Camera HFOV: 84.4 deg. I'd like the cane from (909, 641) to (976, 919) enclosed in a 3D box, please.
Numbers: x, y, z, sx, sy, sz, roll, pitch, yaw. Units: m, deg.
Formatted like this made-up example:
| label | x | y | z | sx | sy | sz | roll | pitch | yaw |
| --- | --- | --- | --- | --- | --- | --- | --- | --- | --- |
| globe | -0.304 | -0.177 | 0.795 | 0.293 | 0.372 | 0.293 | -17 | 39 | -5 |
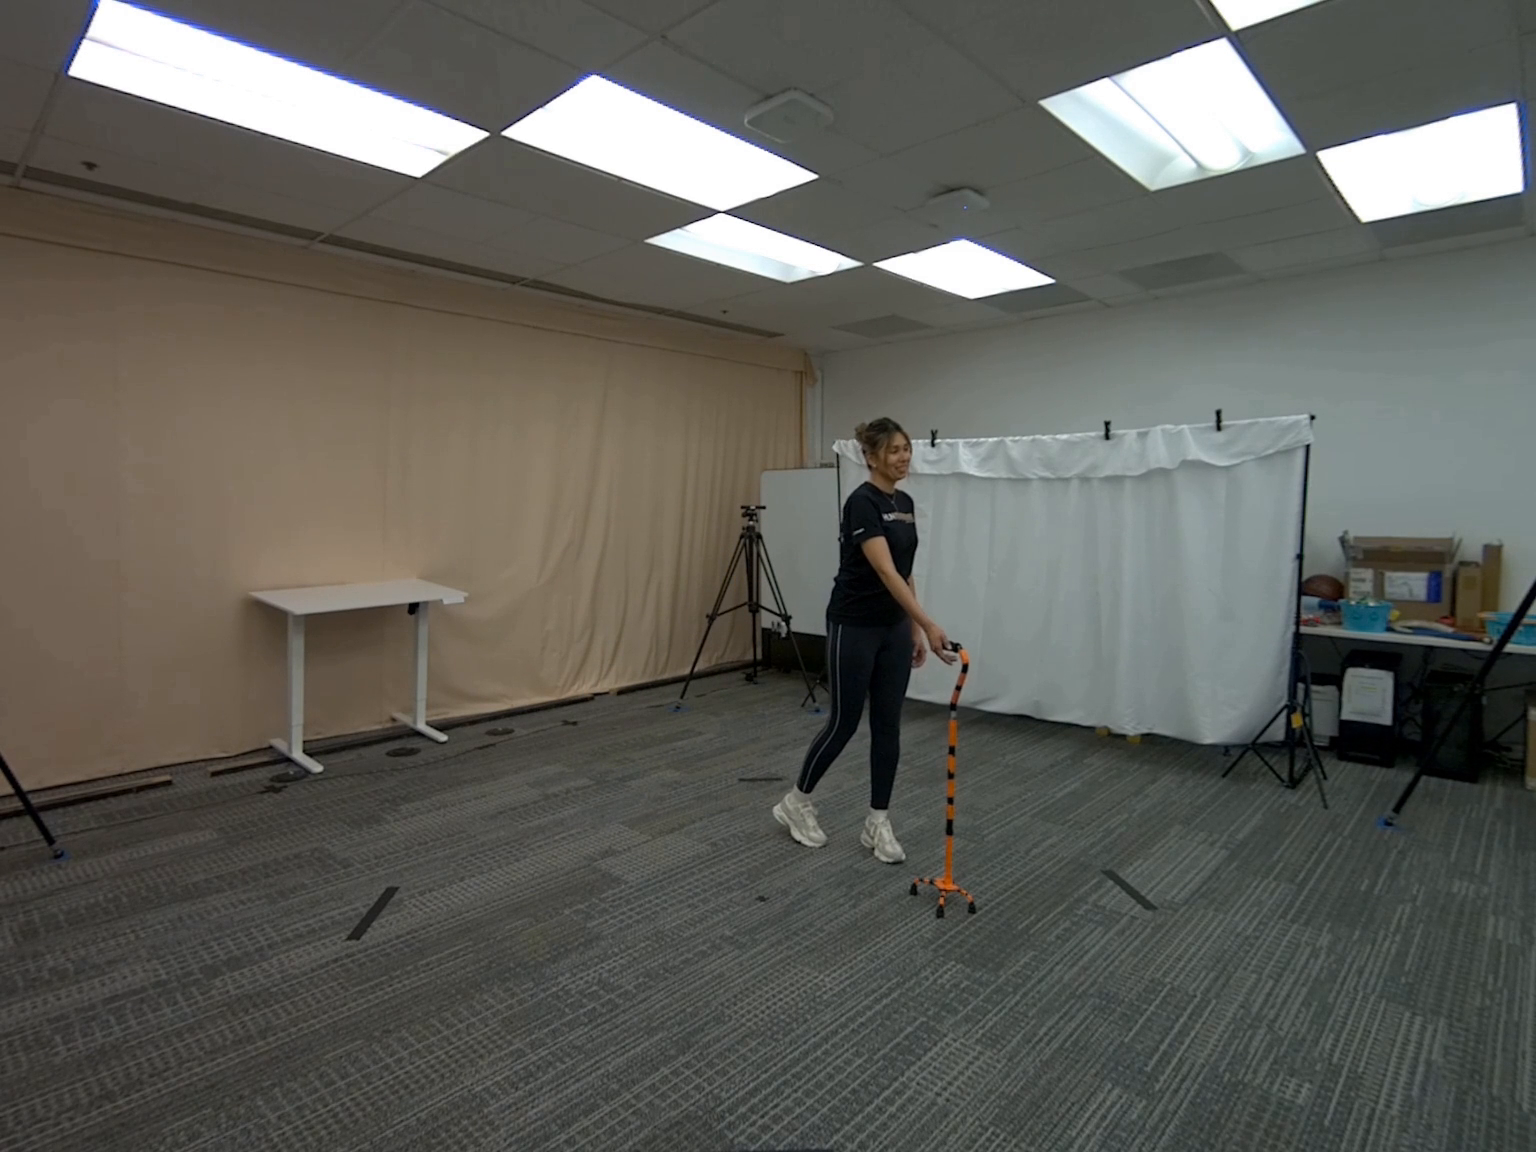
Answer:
| label | x | y | z | sx | sy | sz | roll | pitch | yaw |
| --- | --- | --- | --- | --- | --- | --- | --- | --- | --- |
| cane | 0.623 | 0.687 | 2.932 | 0.149 | 0.907 | 0.211 | 0 | 2 | -19 |
